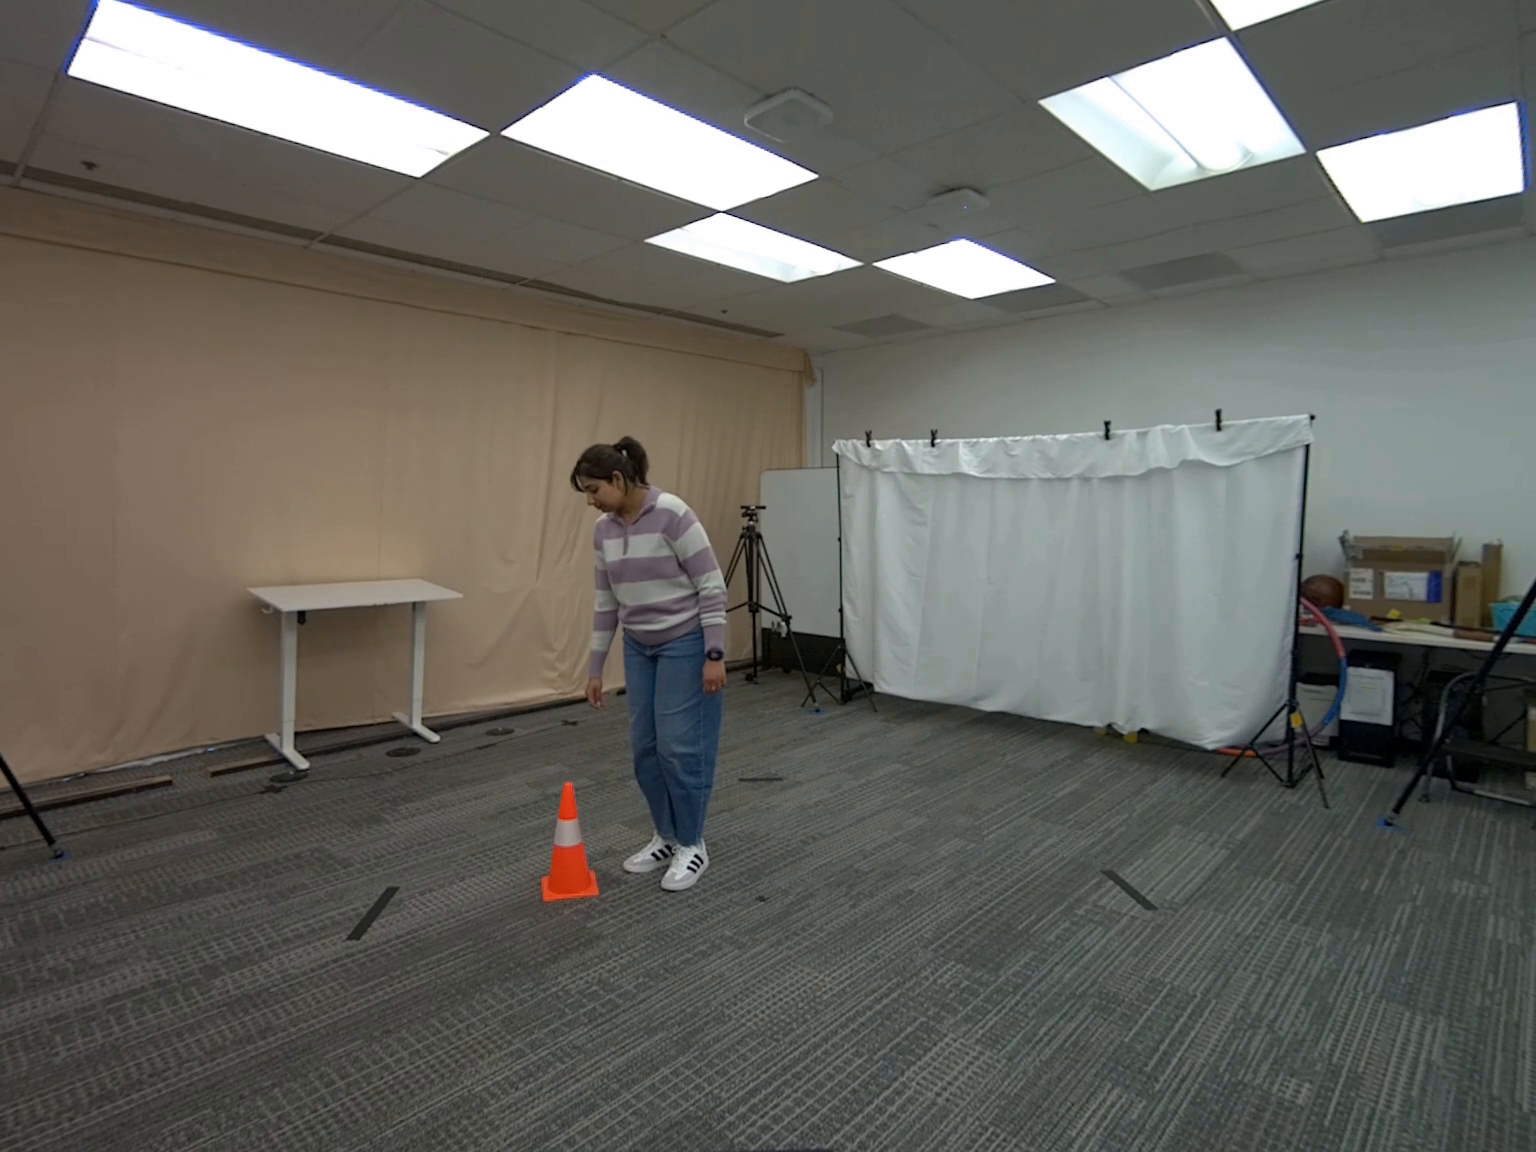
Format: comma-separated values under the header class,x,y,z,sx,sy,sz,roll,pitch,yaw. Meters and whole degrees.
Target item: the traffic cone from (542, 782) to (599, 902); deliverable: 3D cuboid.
class,x,y,z,sx,sy,sz,roll,pitch,yaw
traffic cone,-0.736,0.957,3.094,0.200,0.383,0.208,-2,1,-14
